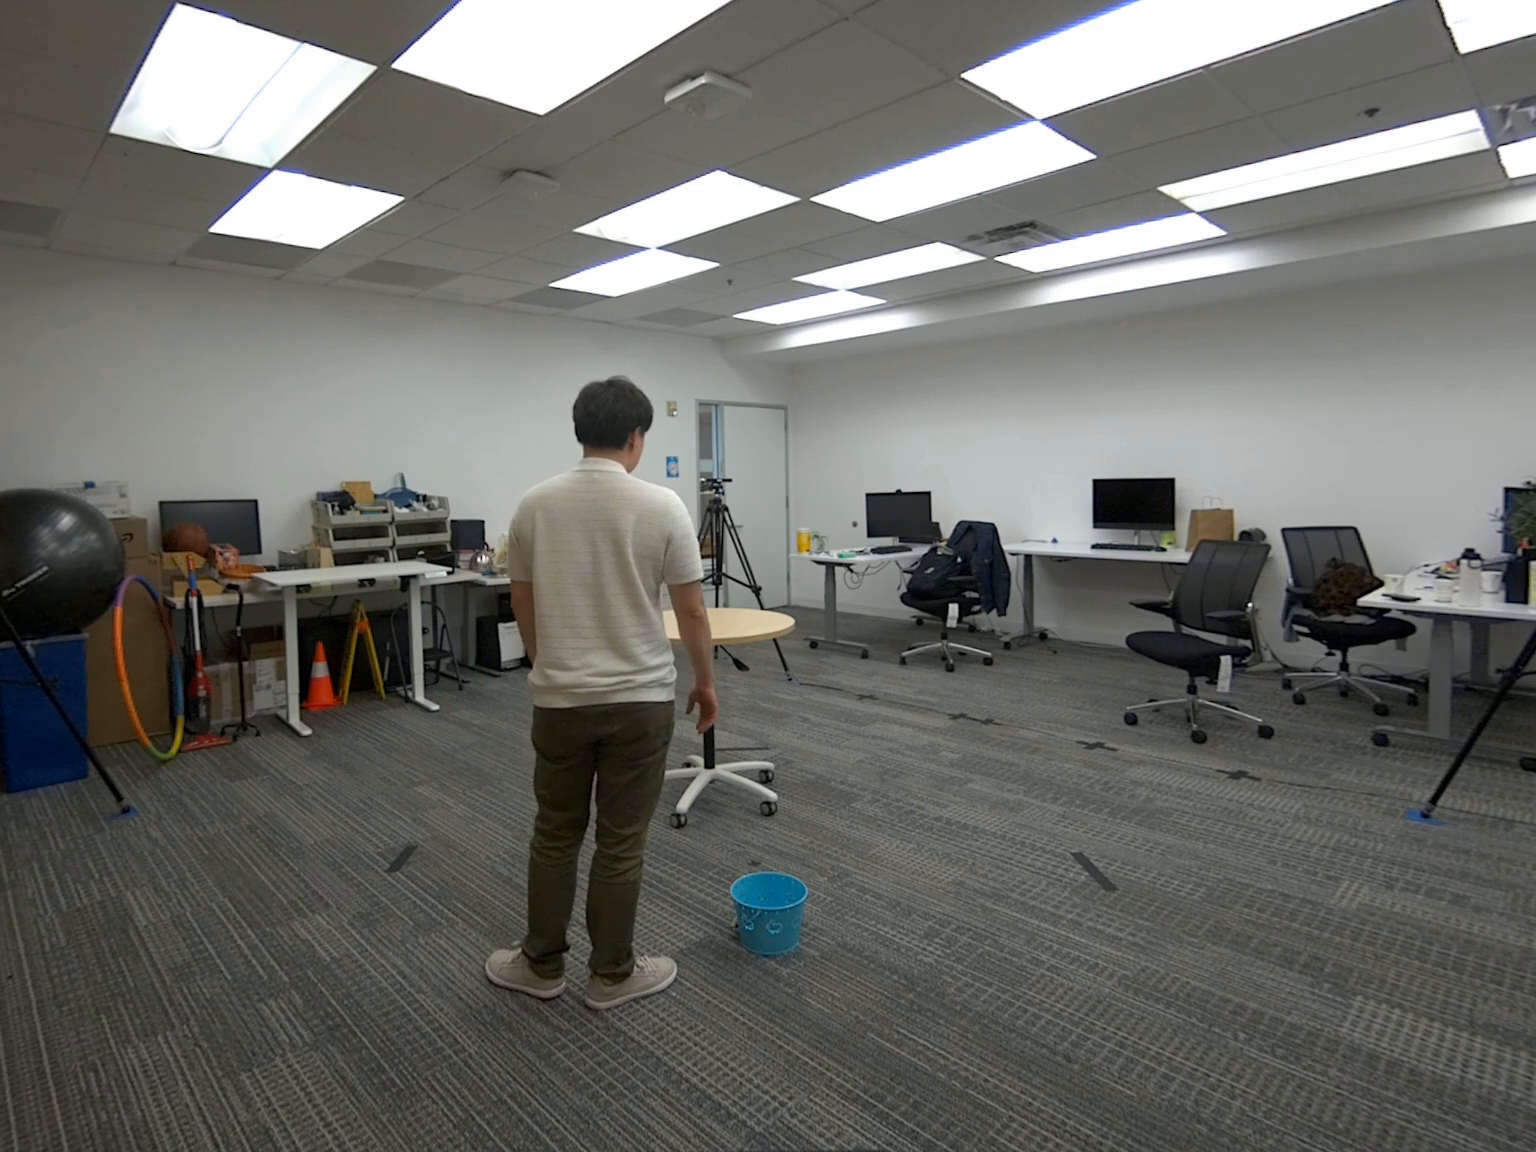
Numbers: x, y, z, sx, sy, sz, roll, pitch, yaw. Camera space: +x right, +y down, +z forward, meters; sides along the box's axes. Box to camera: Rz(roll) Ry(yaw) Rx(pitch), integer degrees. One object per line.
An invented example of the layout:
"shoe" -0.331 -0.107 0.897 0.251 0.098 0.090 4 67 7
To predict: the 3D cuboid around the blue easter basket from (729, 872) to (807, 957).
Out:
"blue easter basket" 0.009 1.026 2.599 0.243 0.155 0.245 -1 5 -2
